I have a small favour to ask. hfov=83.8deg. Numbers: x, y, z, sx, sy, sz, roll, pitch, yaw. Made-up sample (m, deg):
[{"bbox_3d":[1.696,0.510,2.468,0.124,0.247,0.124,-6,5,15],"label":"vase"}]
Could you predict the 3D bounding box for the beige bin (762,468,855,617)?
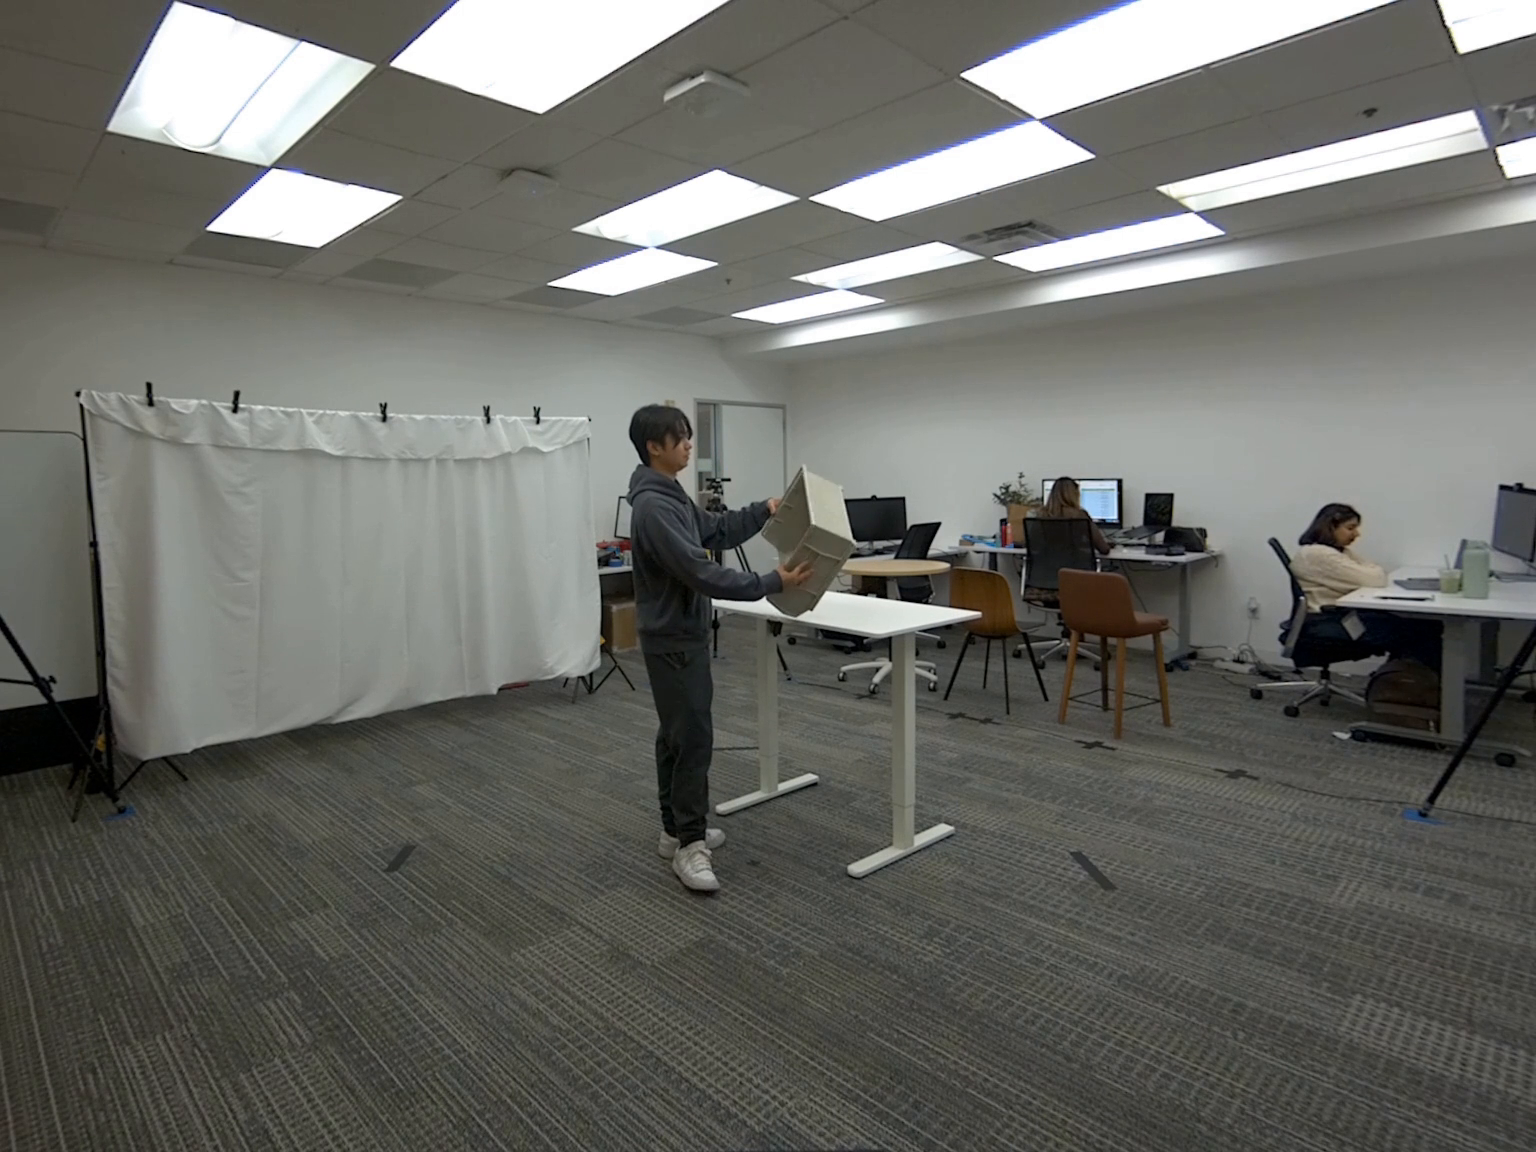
[{"bbox_3d":[0.130,-0.125,3.100,0.186,0.374,0.433,22,30,-16],"label":"beige bin"}]
